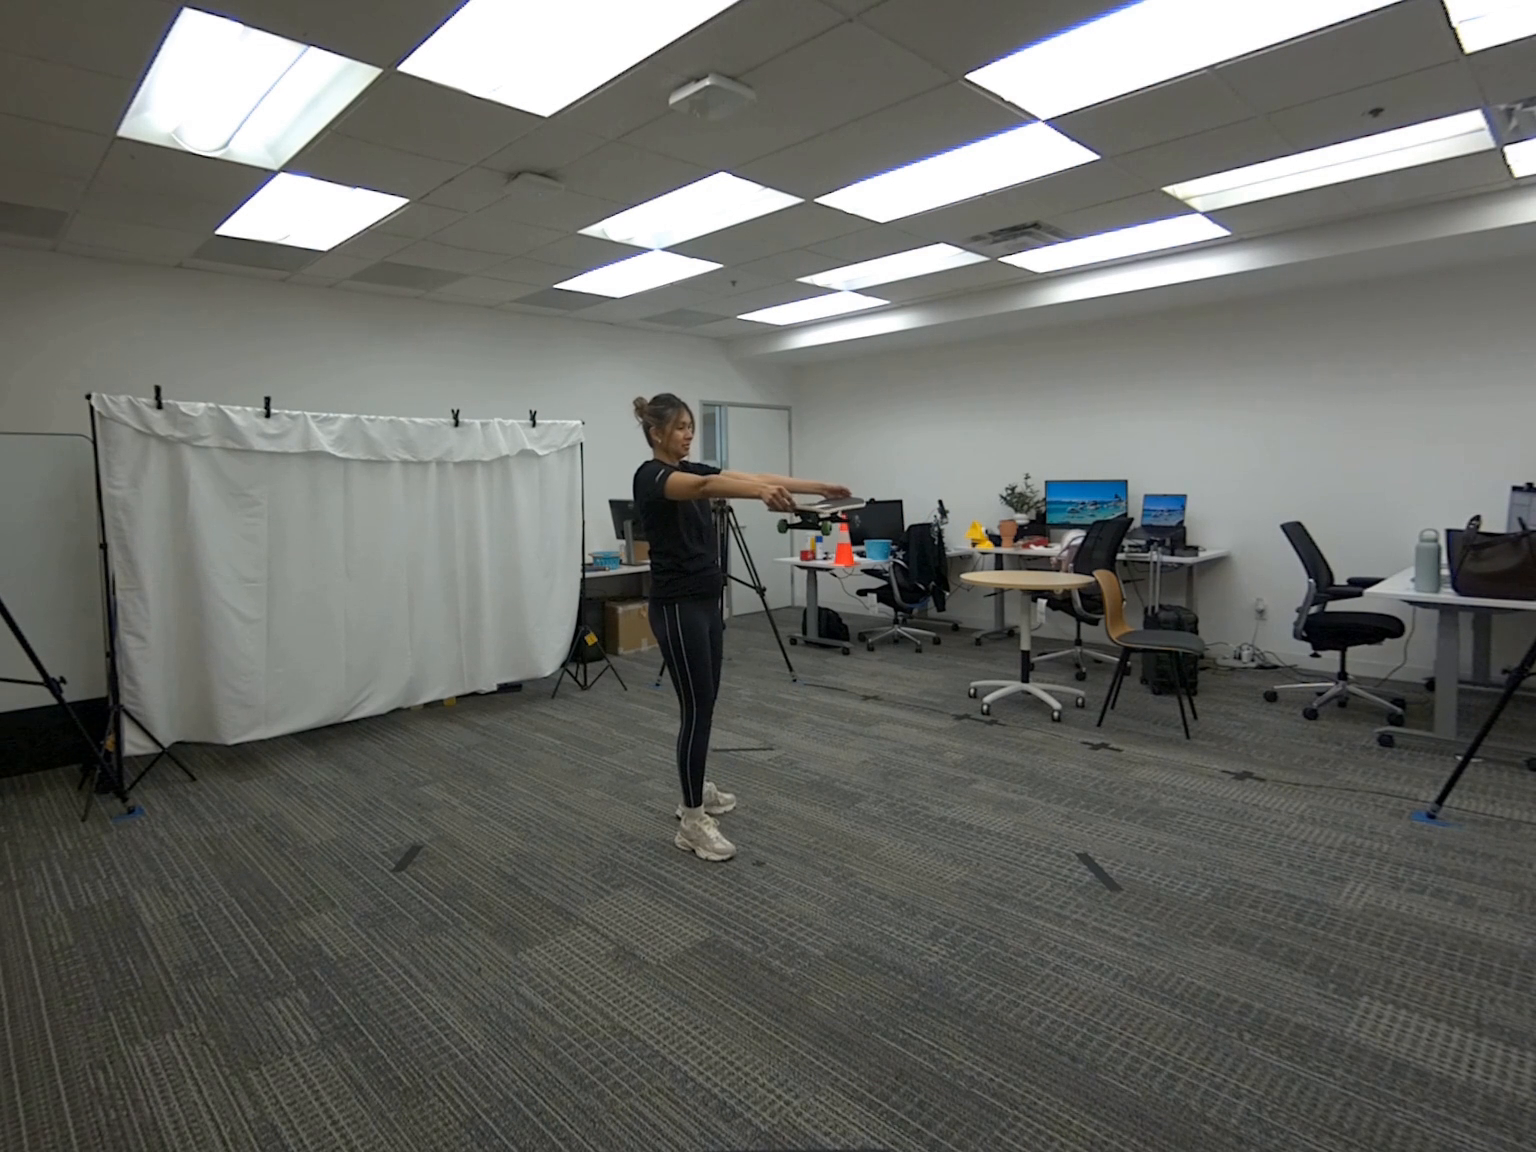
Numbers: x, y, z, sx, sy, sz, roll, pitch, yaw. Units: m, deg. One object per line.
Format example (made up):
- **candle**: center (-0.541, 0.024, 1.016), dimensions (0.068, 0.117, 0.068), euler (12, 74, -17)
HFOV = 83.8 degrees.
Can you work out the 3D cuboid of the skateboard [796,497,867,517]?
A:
- **skateboard**: center (0.186, -0.222, 3.082), dimensions (0.197, 0.109, 0.776), euler (5, 8, 16)
